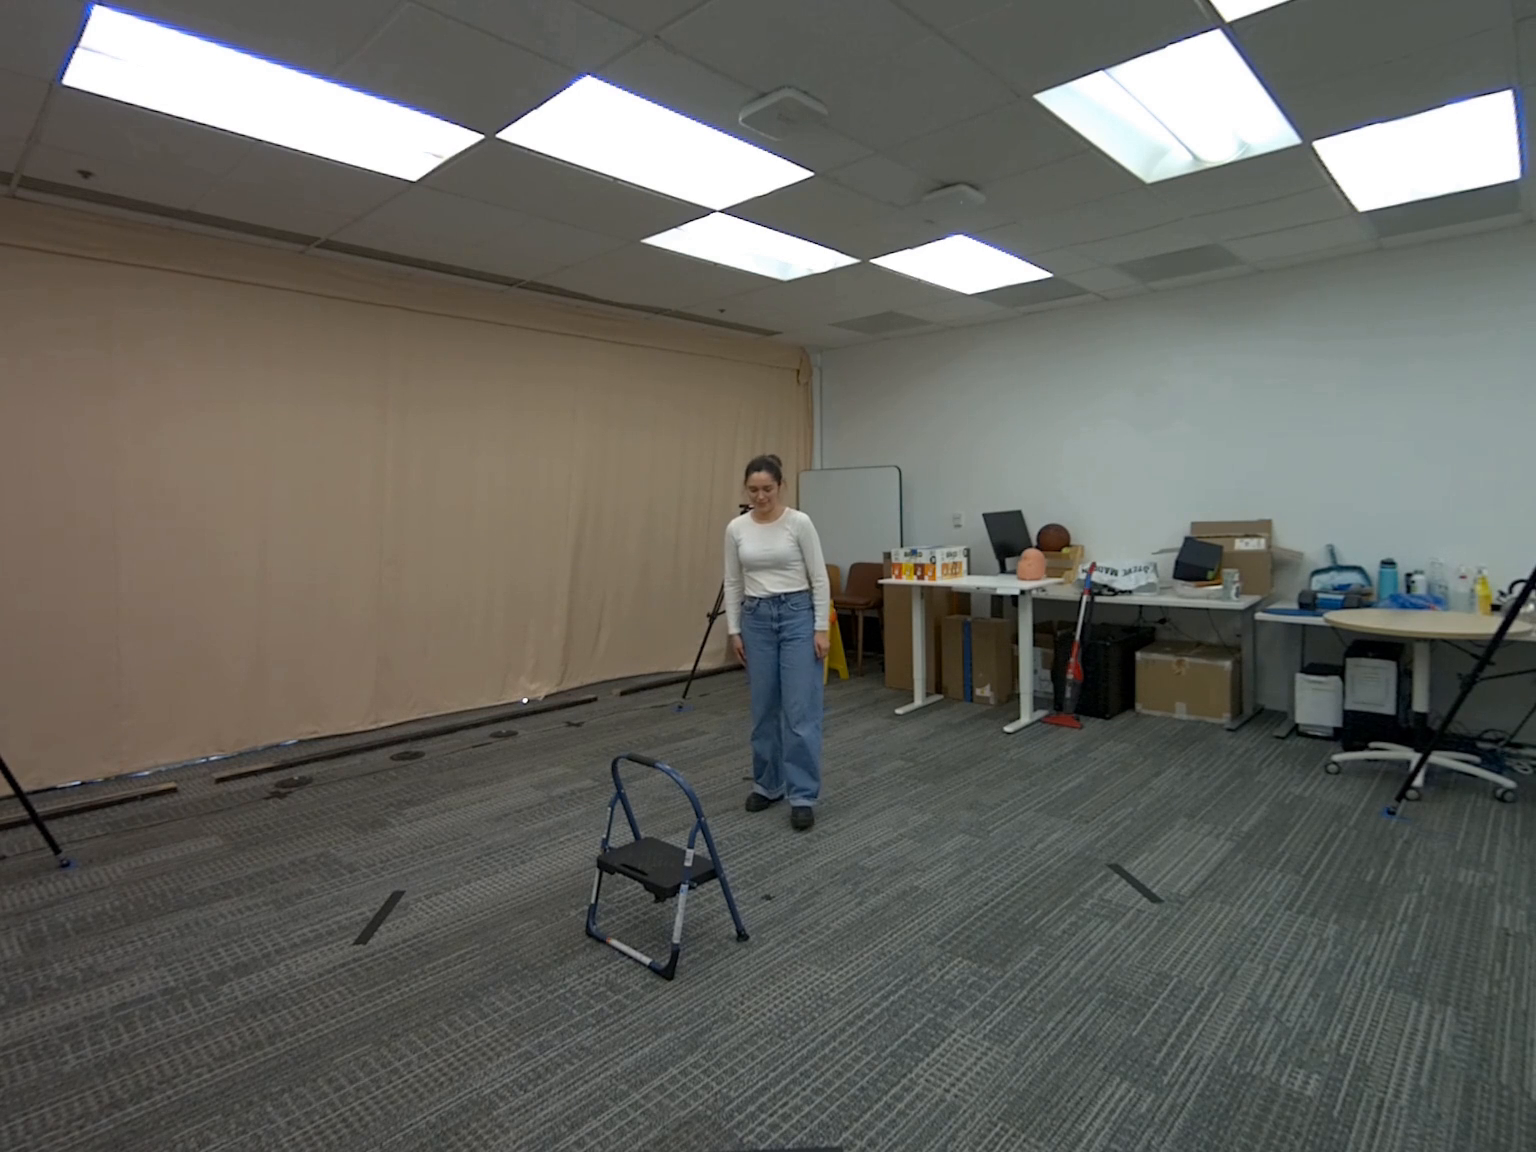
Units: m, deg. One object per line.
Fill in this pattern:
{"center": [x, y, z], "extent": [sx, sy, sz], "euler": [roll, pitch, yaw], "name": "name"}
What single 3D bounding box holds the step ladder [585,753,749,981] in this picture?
{"center": [-0.336, 0.867, 2.717], "extent": [0.445, 0.605, 0.338], "euler": [1, 4, 42], "name": "step ladder"}
